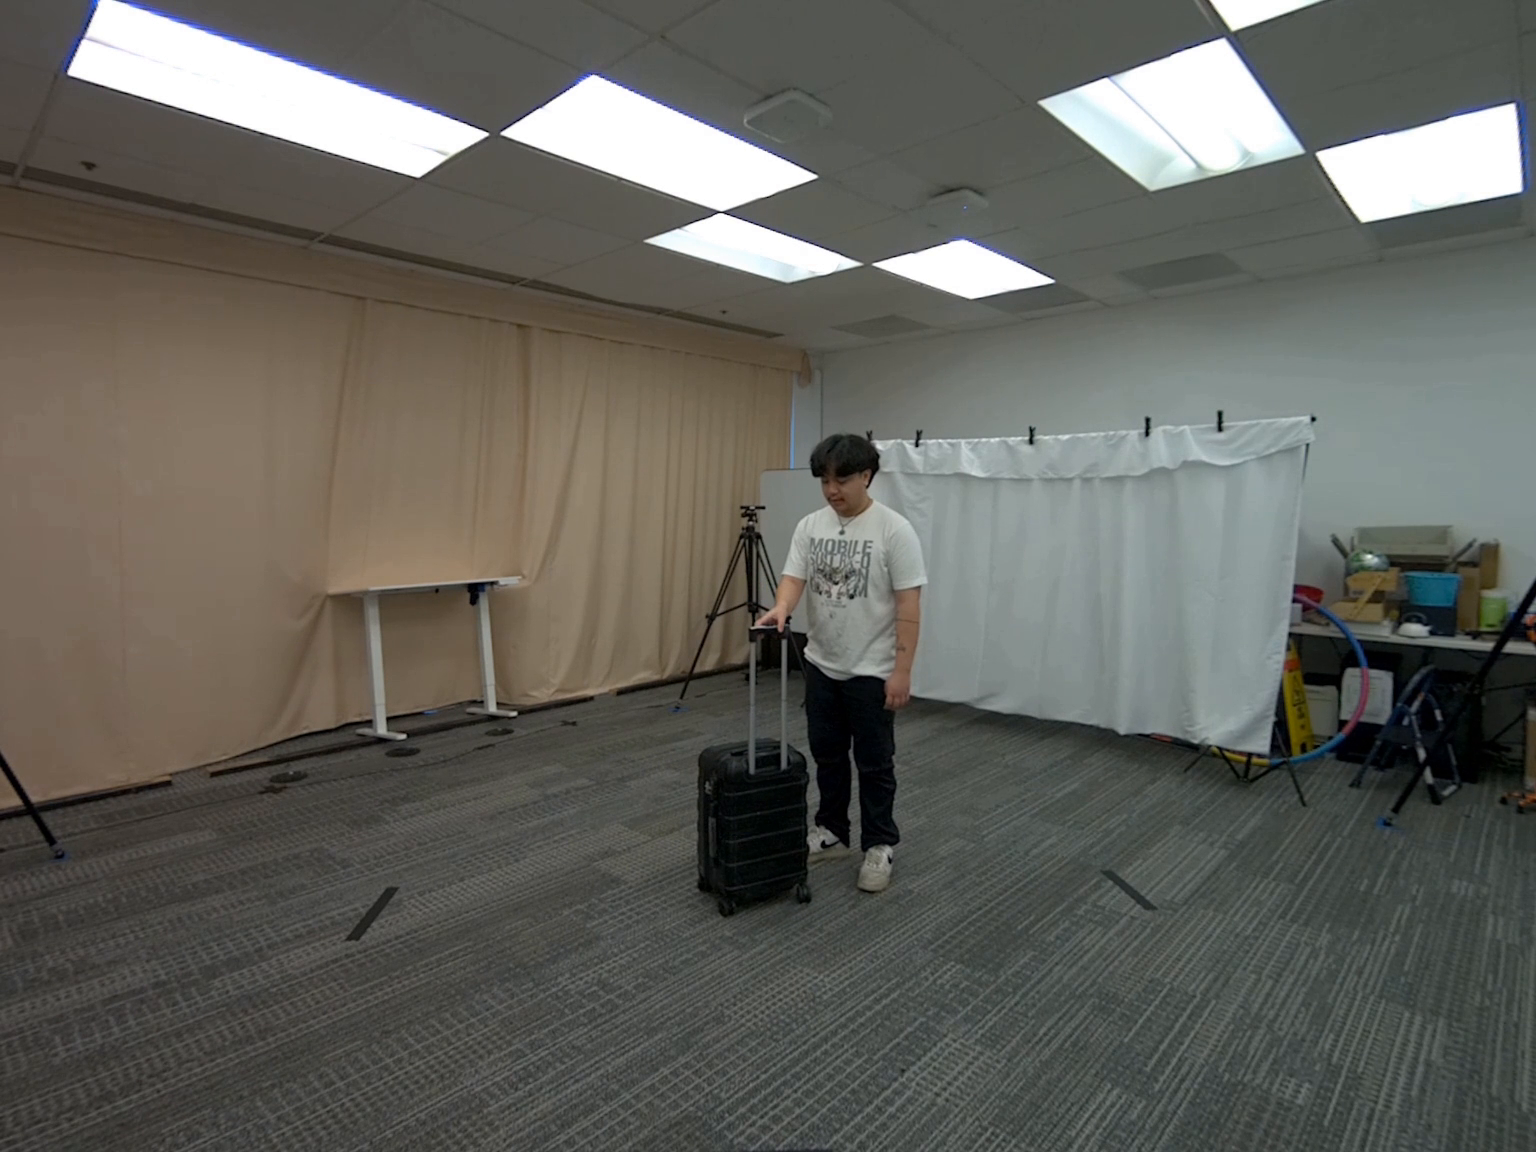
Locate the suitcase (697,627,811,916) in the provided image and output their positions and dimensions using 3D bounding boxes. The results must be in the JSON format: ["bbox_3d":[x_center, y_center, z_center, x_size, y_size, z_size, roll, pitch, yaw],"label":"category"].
[{"bbox_3d":[-0.054,0.672,2.985,0.375,0.978,0.263,0,1,-24],"label":"suitcase"}]
